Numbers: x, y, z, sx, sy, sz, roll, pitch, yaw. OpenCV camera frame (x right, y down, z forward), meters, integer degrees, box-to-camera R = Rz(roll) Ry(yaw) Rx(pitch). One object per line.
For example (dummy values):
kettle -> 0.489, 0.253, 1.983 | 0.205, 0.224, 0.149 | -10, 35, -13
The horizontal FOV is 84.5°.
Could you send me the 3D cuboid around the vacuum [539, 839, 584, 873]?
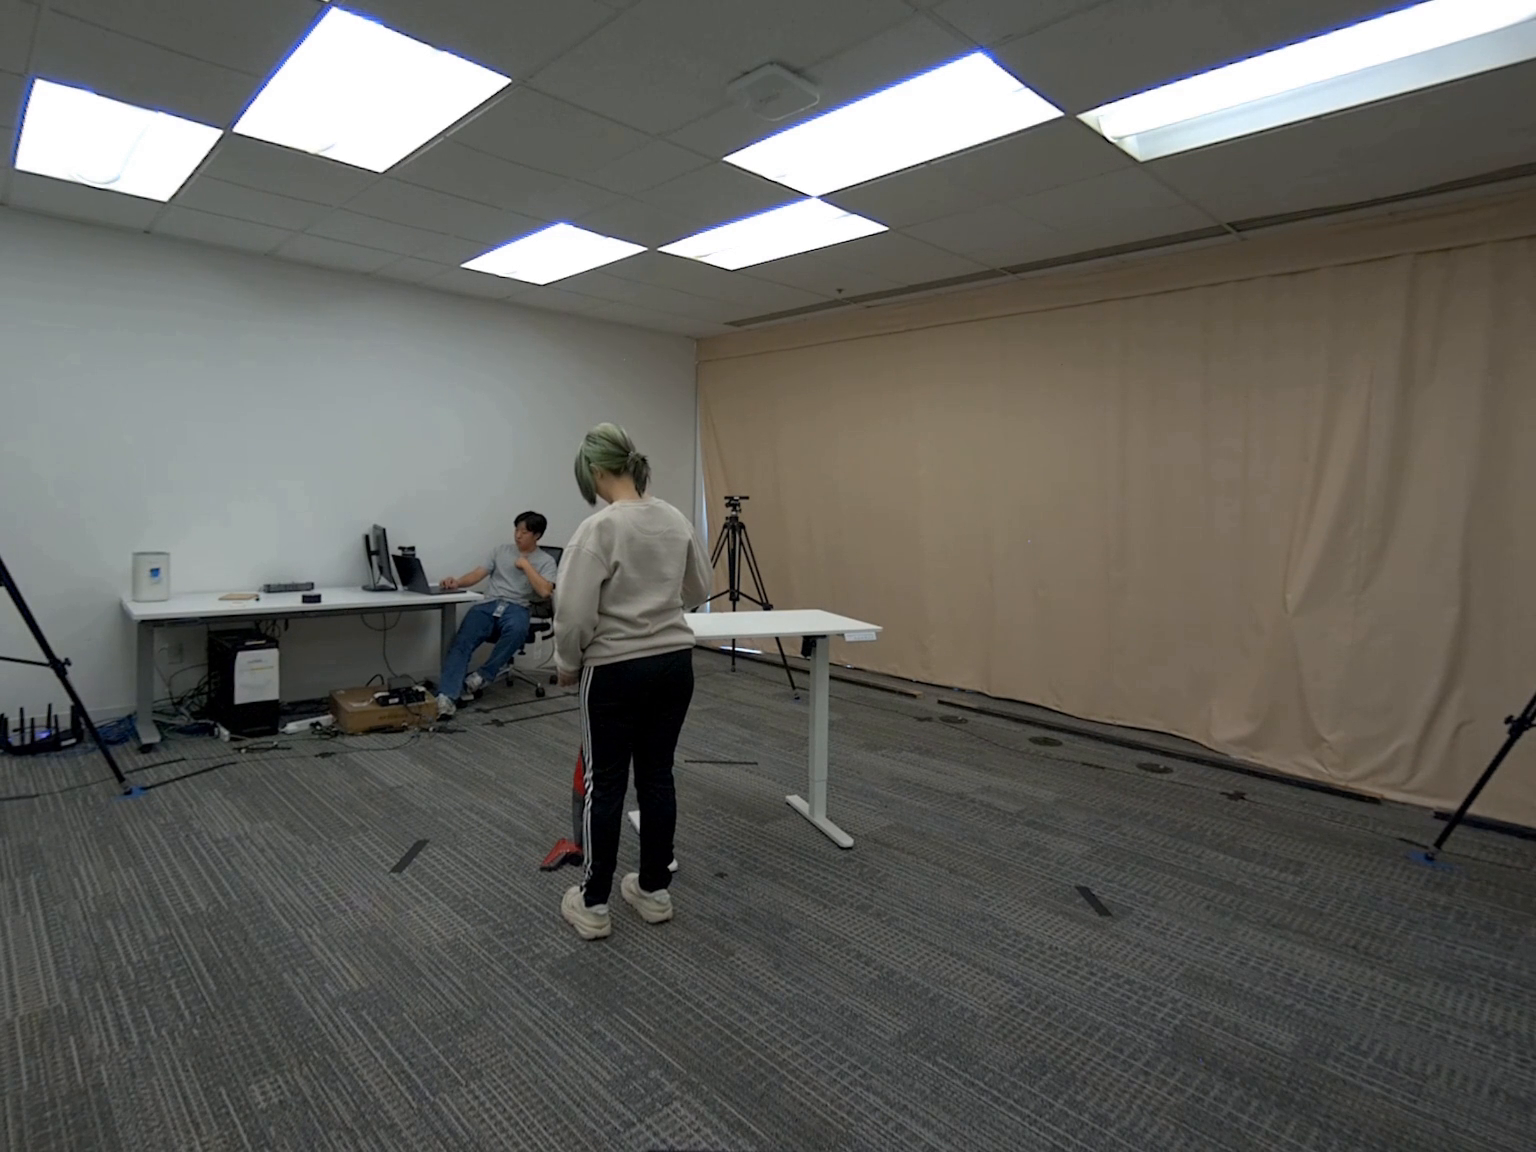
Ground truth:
vacuum -> -0.642, 0.587, 3.172 | 0.144, 1.046, 0.253 | 15, 6, 0
